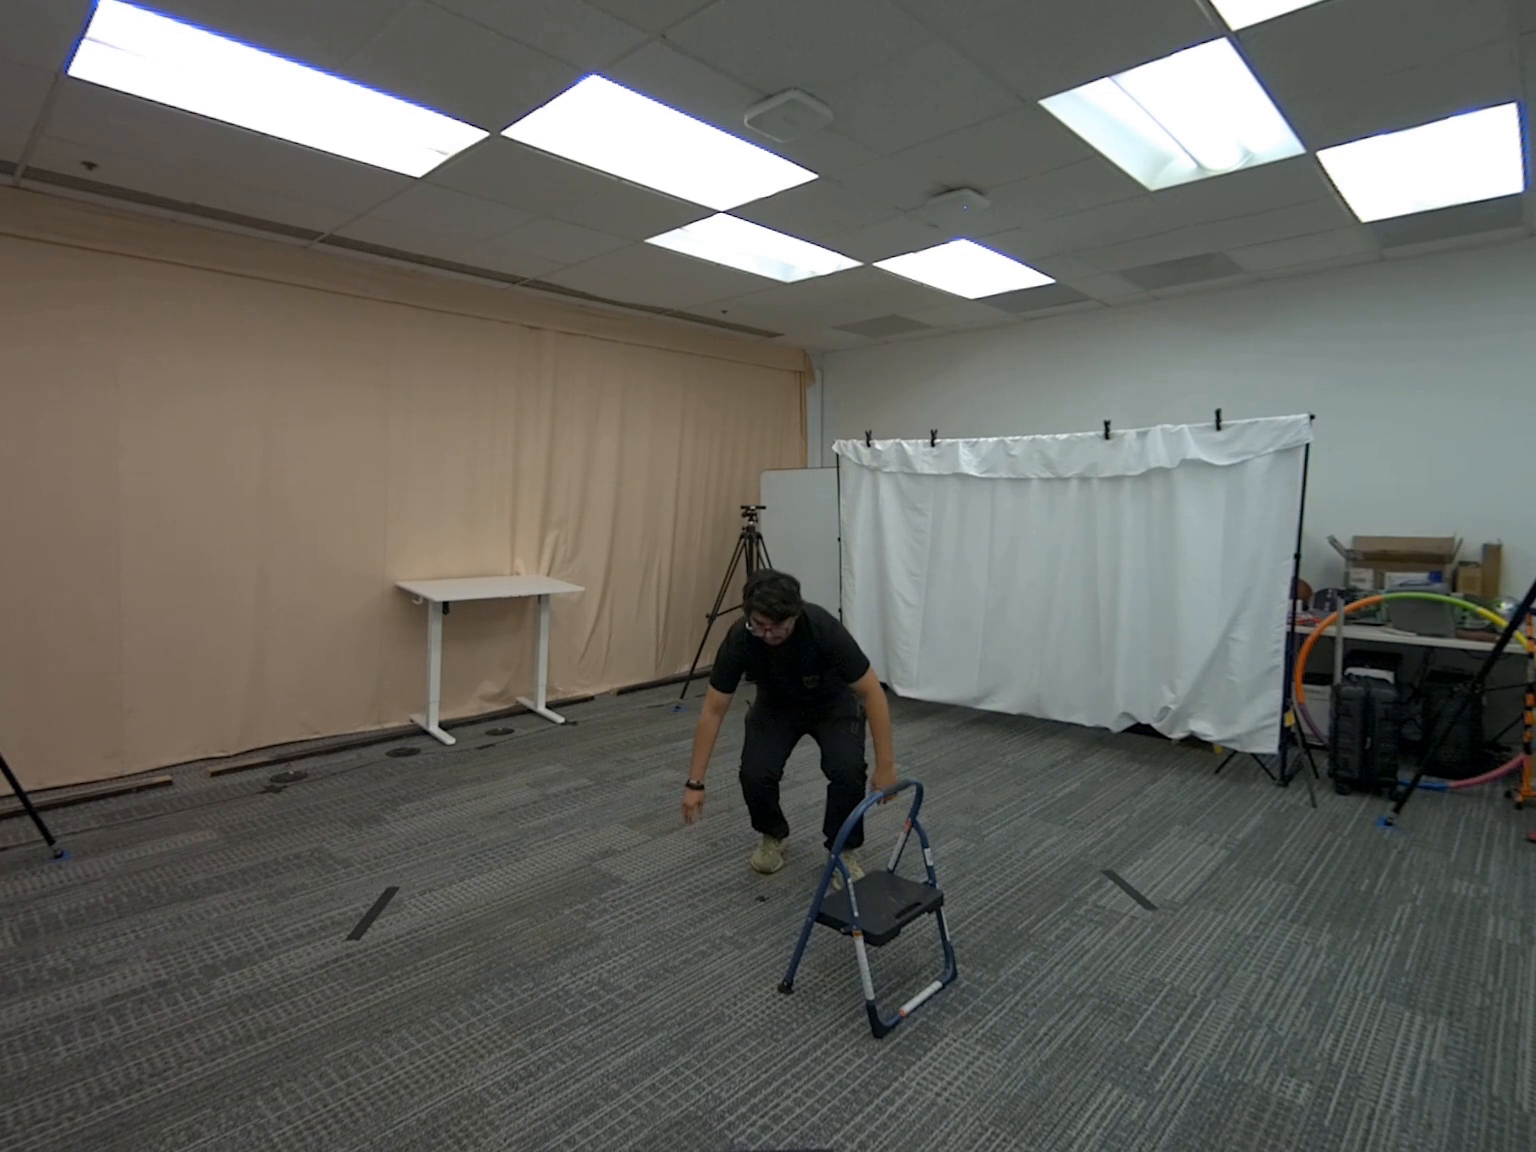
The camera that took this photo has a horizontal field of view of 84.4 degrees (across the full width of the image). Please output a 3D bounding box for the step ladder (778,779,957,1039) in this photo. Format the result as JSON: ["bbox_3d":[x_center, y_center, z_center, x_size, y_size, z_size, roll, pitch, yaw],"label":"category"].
[{"bbox_3d":[0.295,0.883,2.439,0.361,0.604,0.417,3,5,42],"label":"step ladder"}]
